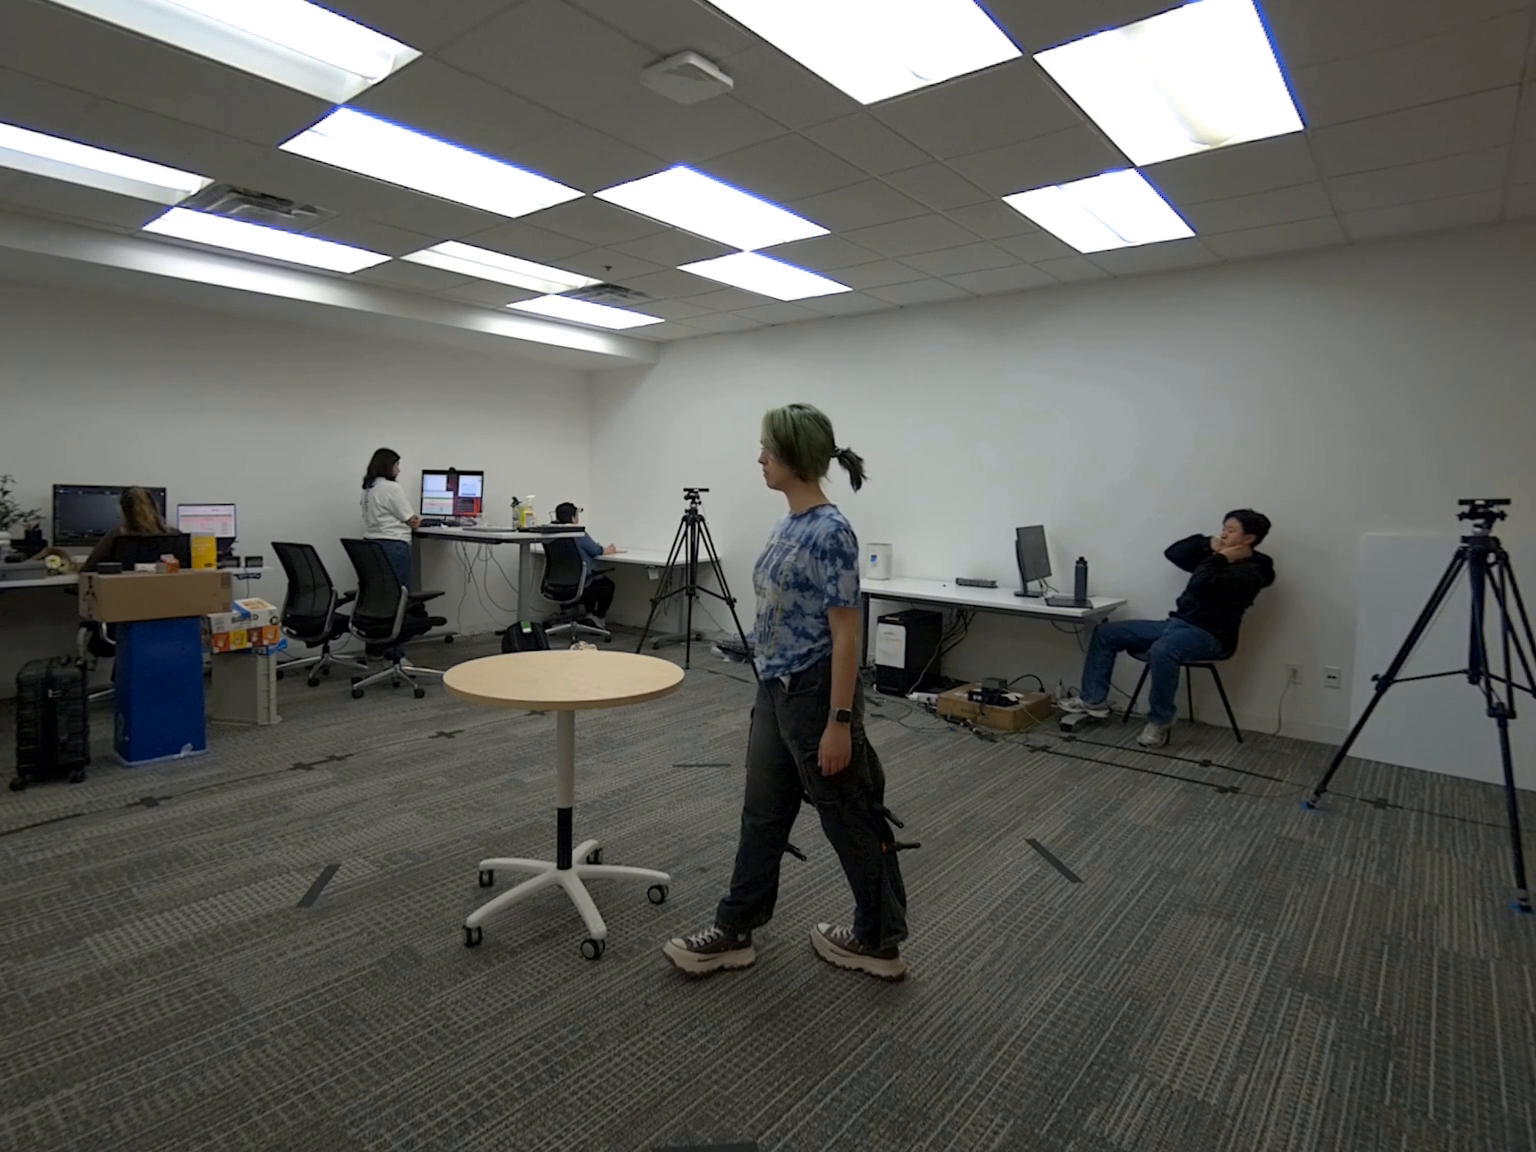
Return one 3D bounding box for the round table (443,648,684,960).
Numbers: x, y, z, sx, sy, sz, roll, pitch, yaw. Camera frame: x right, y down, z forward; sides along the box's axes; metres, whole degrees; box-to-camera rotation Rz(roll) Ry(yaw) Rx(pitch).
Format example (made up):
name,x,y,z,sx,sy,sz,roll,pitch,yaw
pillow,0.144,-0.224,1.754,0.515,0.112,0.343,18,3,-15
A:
name,x,y,z,sx,sy,sz,roll,pitch,yaw
round table,-0.675,0.705,2.781,0.763,0.791,0.768,1,4,-2
